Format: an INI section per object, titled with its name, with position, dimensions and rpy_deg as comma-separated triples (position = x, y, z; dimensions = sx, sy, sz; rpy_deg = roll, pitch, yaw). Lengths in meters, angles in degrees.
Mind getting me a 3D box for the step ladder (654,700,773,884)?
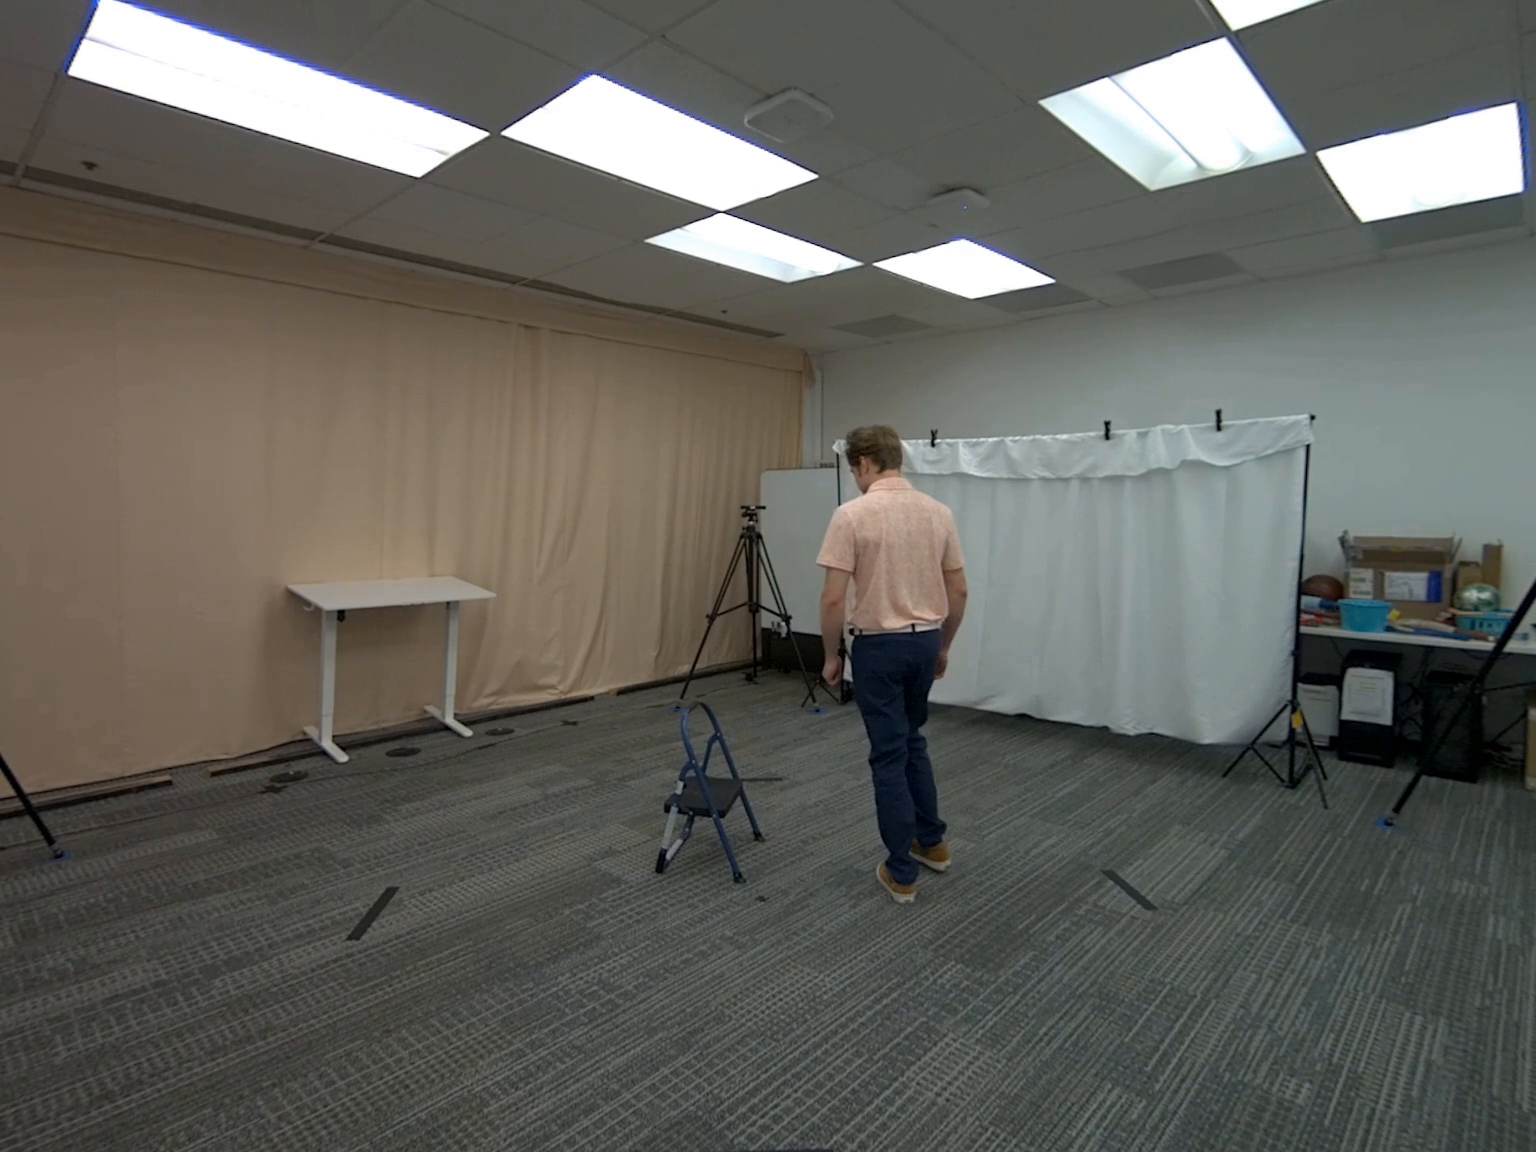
[step ladder]
position = -0.230, 0.815, 3.342
dimensions = 0.354, 0.605, 0.425
rpy_deg = 0, 3, 12
